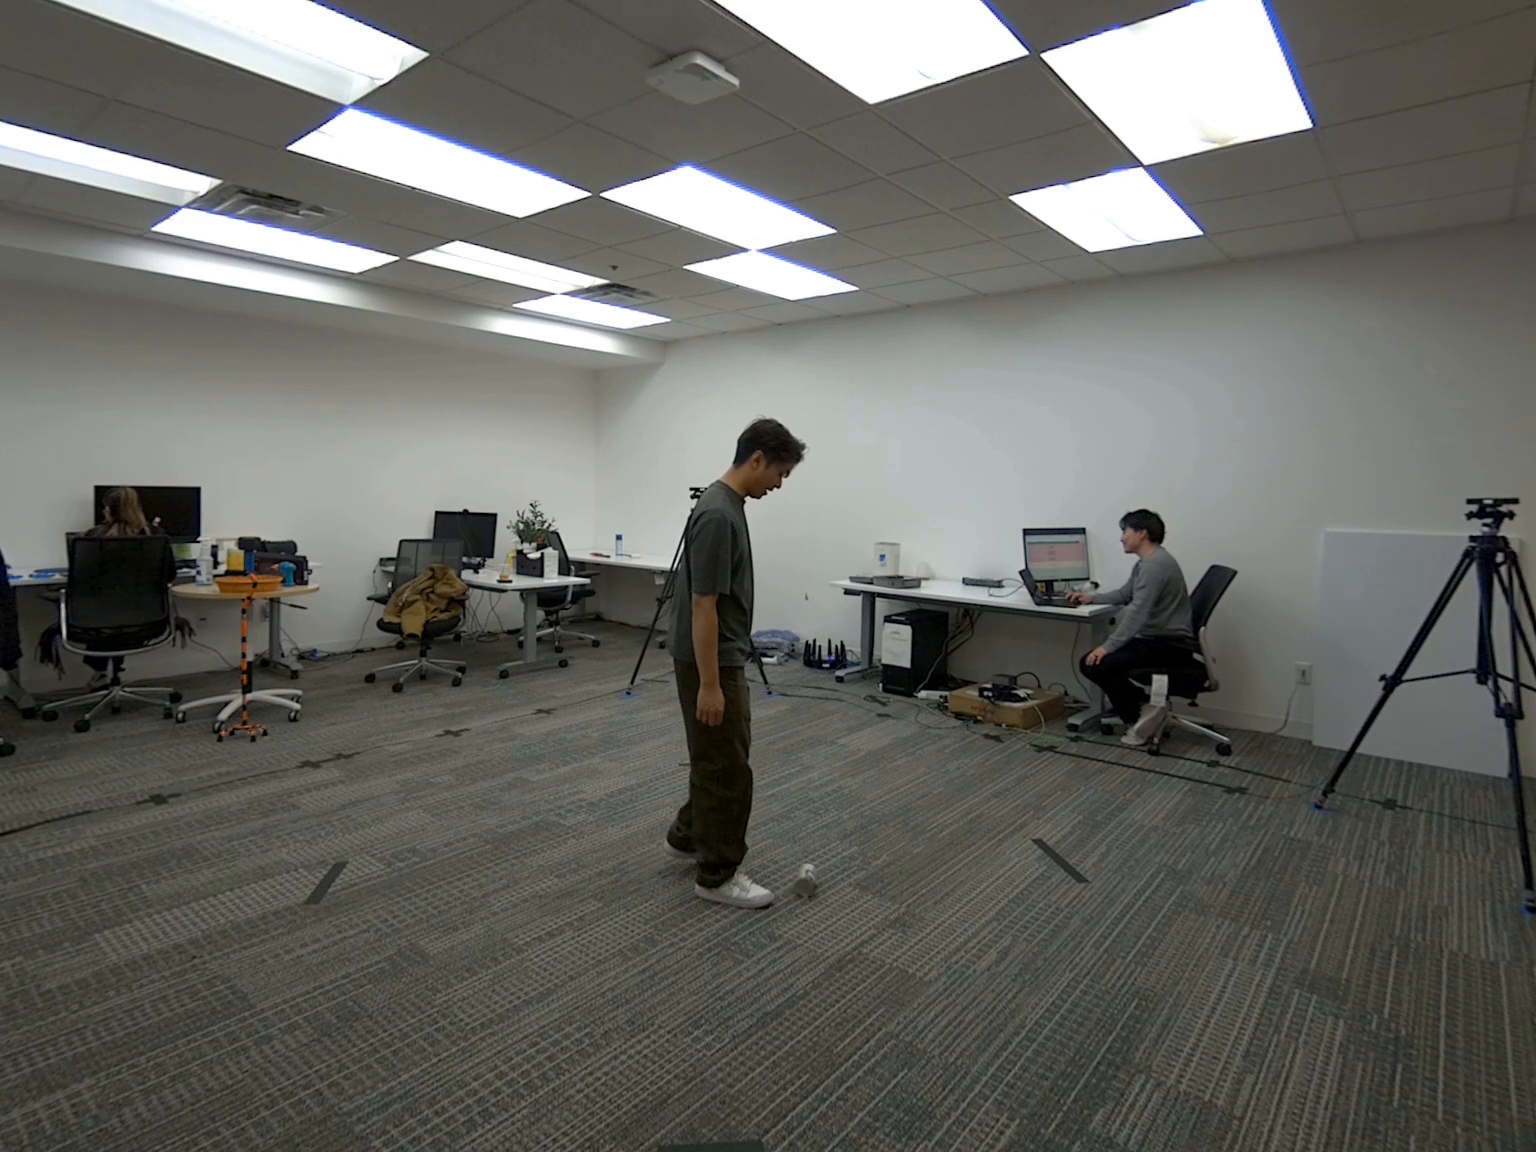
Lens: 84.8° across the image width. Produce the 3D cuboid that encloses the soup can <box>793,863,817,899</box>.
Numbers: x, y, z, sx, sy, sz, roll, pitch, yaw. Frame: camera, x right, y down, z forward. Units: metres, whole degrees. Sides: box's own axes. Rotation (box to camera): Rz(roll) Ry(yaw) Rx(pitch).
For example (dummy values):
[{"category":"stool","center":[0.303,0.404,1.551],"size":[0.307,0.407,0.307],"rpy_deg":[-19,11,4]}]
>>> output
[{"category":"soup can","center":[0.126,1.050,2.964],"size":[0.068,0.067,0.120],"rpy_deg":[2,5,9]}]
